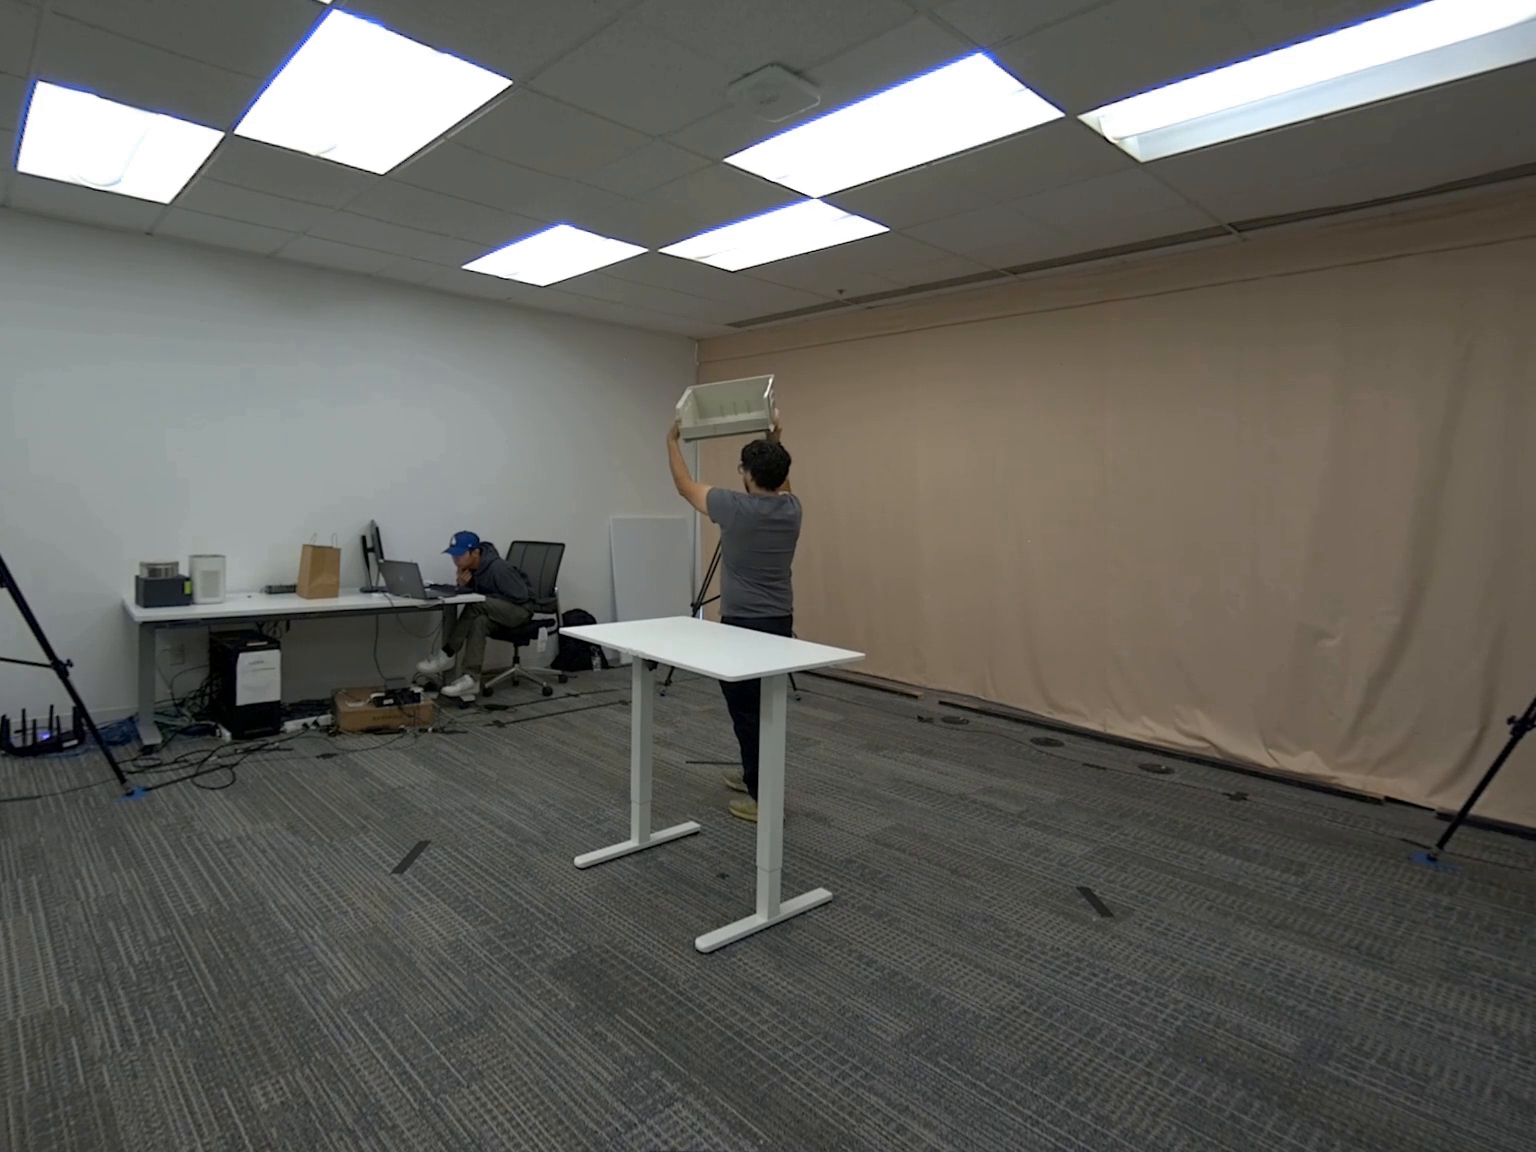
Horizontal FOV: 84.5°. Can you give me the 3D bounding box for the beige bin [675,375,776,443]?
[{"bbox_3d":[-0.191,-0.769,3.915,0.425,0.185,0.382,-7,26,10],"label":"beige bin"}]
